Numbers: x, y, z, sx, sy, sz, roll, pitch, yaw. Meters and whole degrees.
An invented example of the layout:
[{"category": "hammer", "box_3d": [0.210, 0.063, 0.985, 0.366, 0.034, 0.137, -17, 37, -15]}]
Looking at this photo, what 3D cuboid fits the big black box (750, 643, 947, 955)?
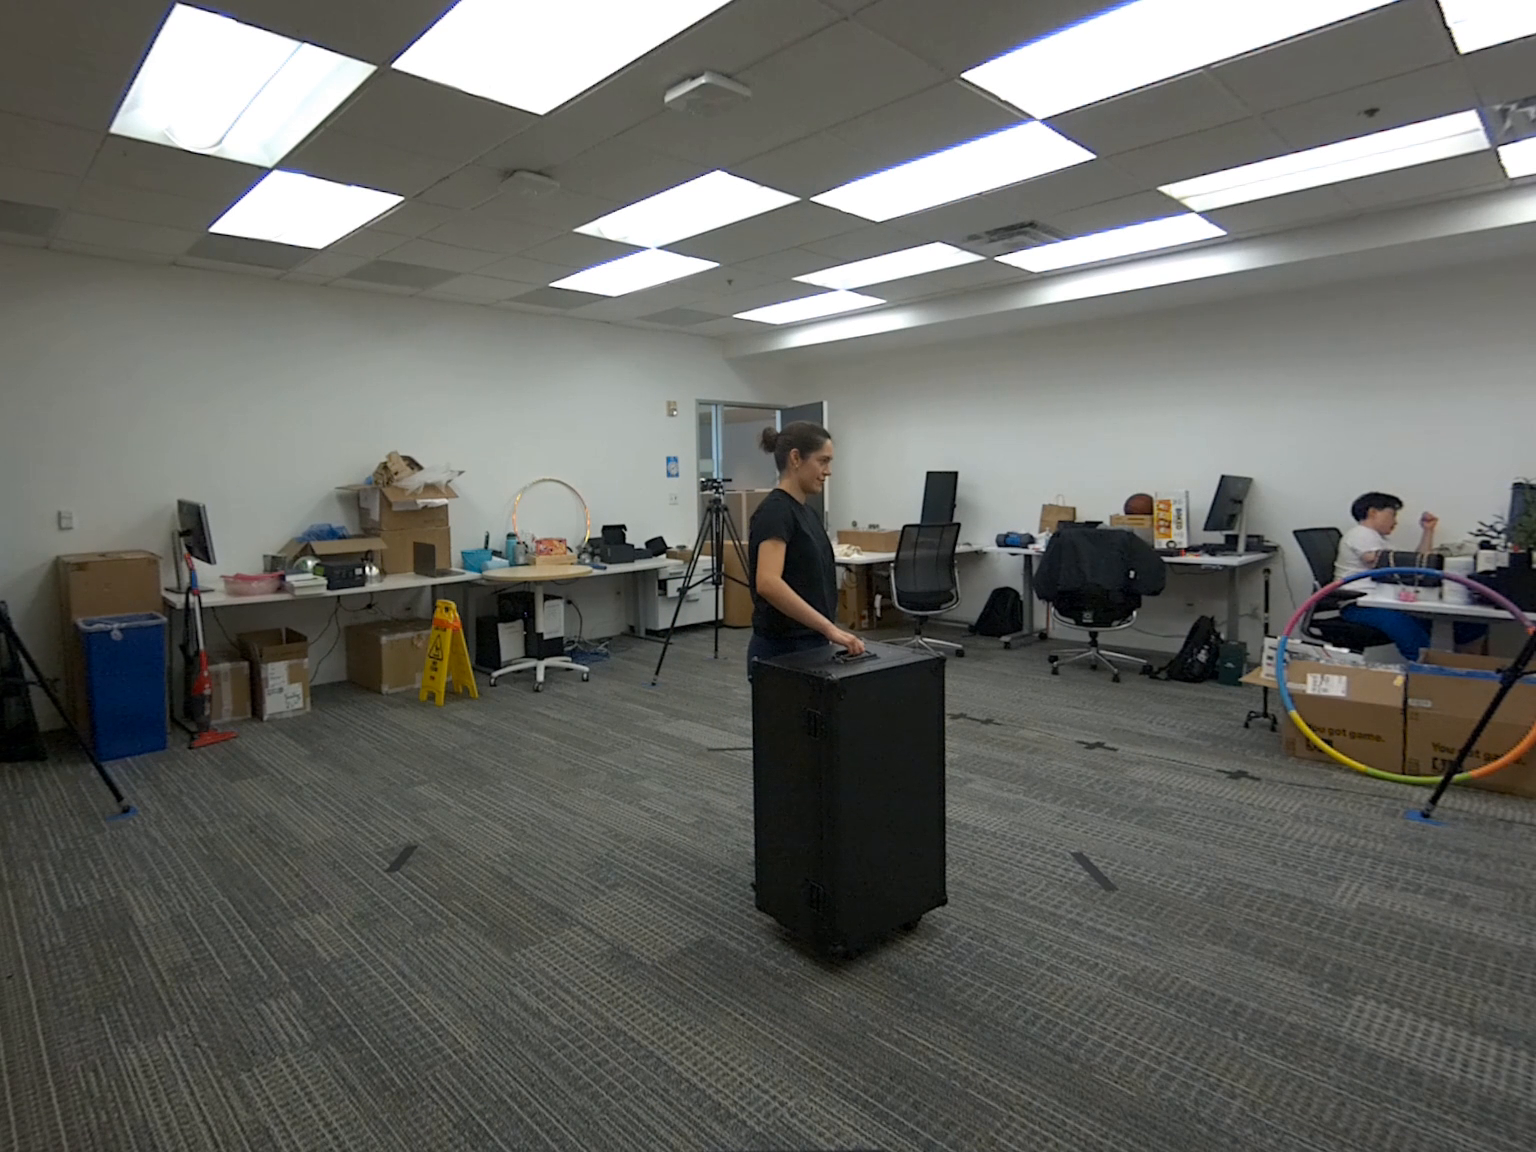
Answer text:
[{"category": "big black box", "box_3d": [0.245, 0.609, 2.642, 0.508, 0.859, 0.408, -5, 5, -38]}]
